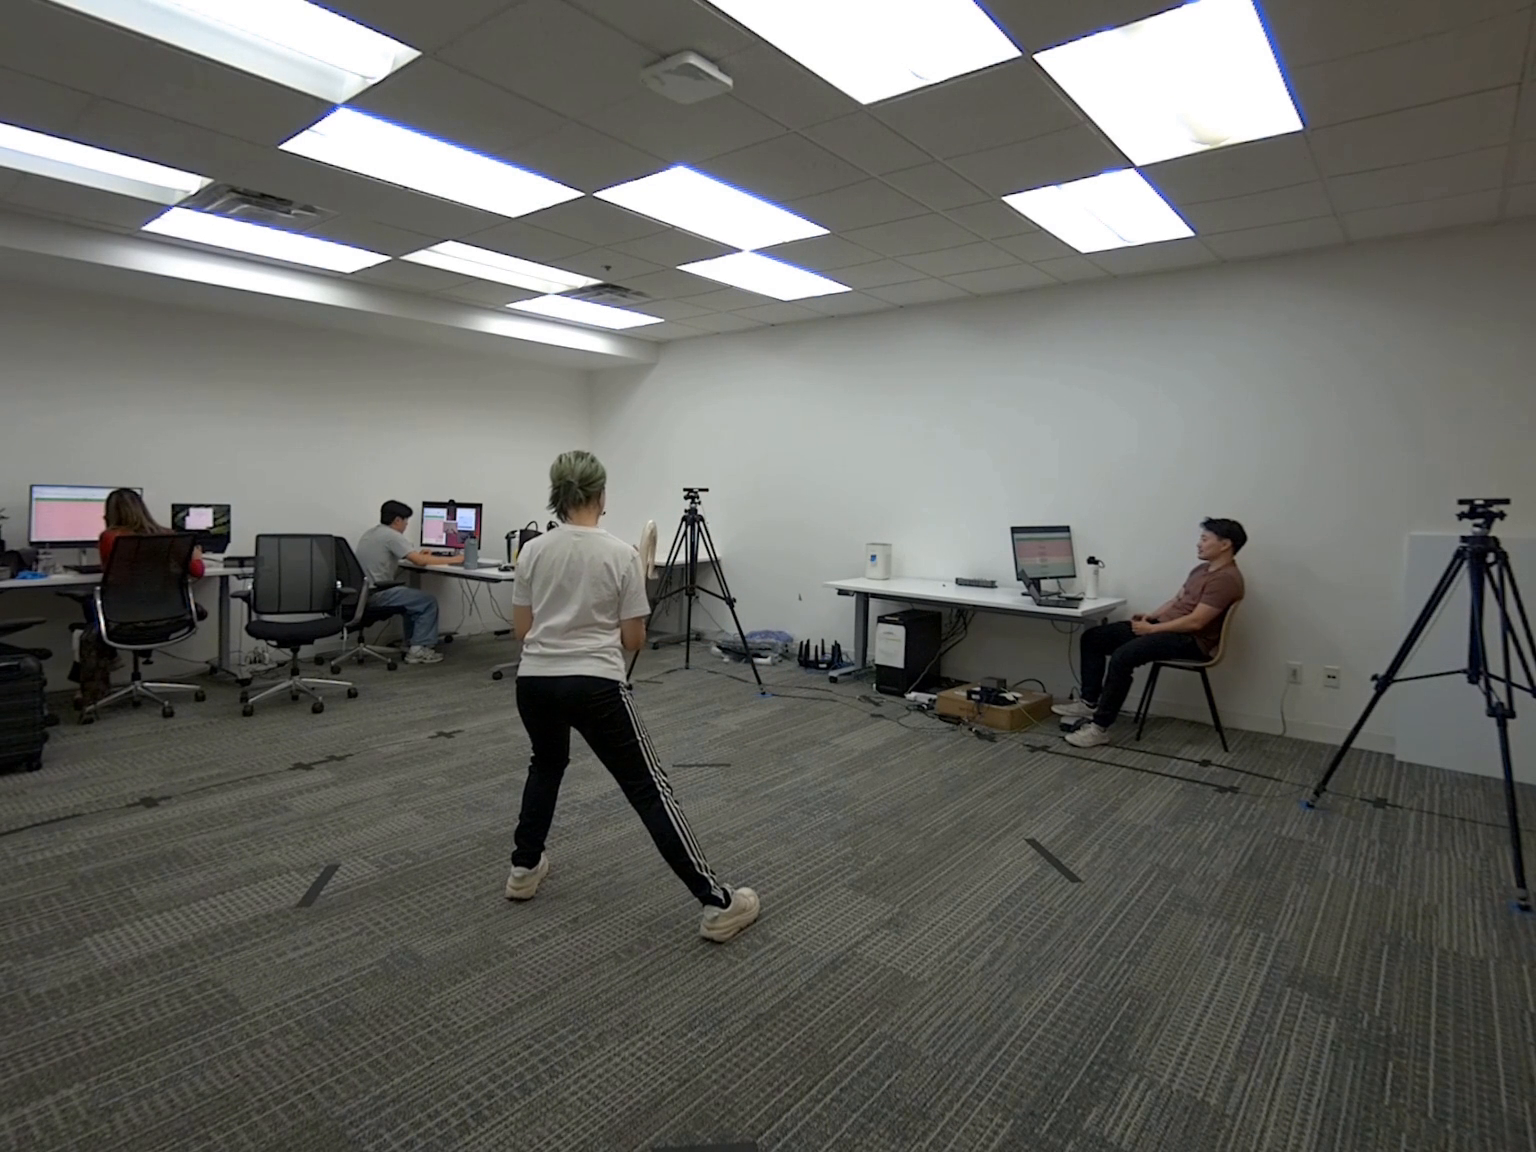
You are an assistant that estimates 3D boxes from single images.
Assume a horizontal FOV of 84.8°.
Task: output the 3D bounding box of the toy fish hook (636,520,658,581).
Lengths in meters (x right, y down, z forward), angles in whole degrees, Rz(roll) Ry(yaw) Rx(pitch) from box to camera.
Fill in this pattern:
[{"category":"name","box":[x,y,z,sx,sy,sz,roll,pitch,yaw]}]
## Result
[{"category":"toy fish hook","box":[-0.492,0.029,3.262,0.049,0.514,0.219,6,-21,6]}]
